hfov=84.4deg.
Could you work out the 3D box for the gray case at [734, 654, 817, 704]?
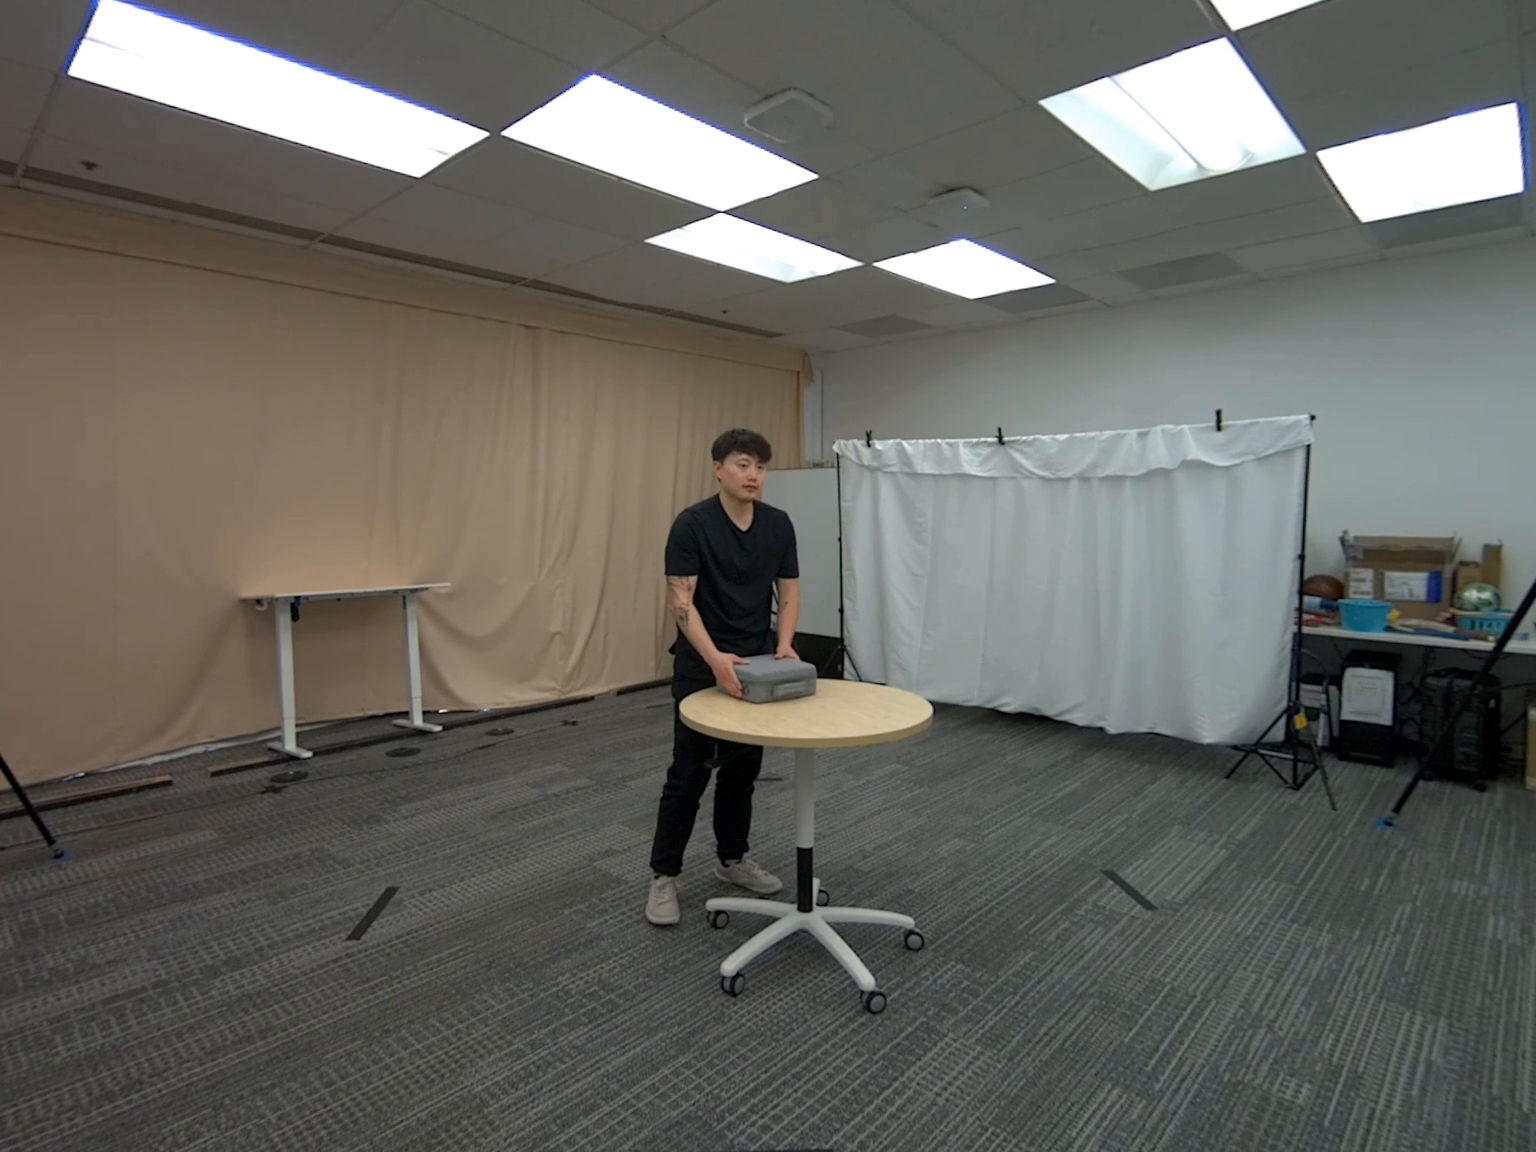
[{"bbox_3d":[-0.002,0.330,2.730,0.250,0.104,0.268,-3,6,-32],"label":"gray case"}]
